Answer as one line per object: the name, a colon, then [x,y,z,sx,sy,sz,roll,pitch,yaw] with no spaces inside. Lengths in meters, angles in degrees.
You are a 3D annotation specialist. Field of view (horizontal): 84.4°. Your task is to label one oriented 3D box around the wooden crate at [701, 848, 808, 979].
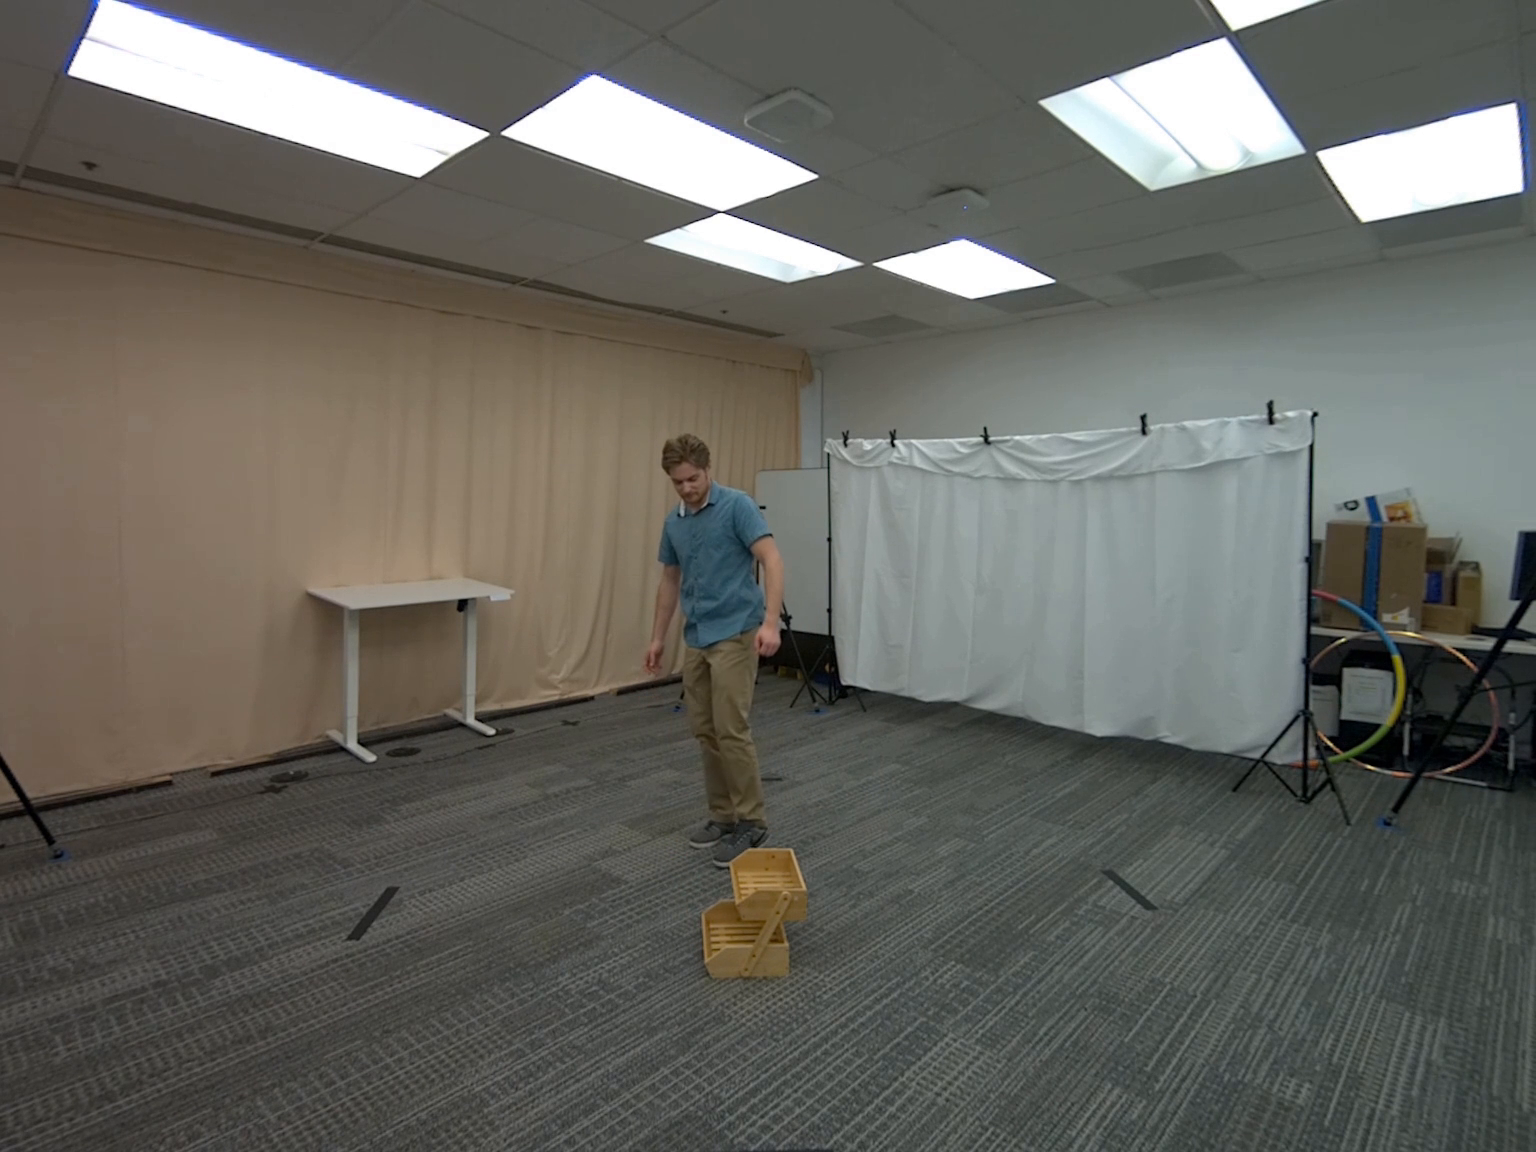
wooden crate: [-0.053,1.041,2.618,0.300,0.273,0.327,1,3,-6]
